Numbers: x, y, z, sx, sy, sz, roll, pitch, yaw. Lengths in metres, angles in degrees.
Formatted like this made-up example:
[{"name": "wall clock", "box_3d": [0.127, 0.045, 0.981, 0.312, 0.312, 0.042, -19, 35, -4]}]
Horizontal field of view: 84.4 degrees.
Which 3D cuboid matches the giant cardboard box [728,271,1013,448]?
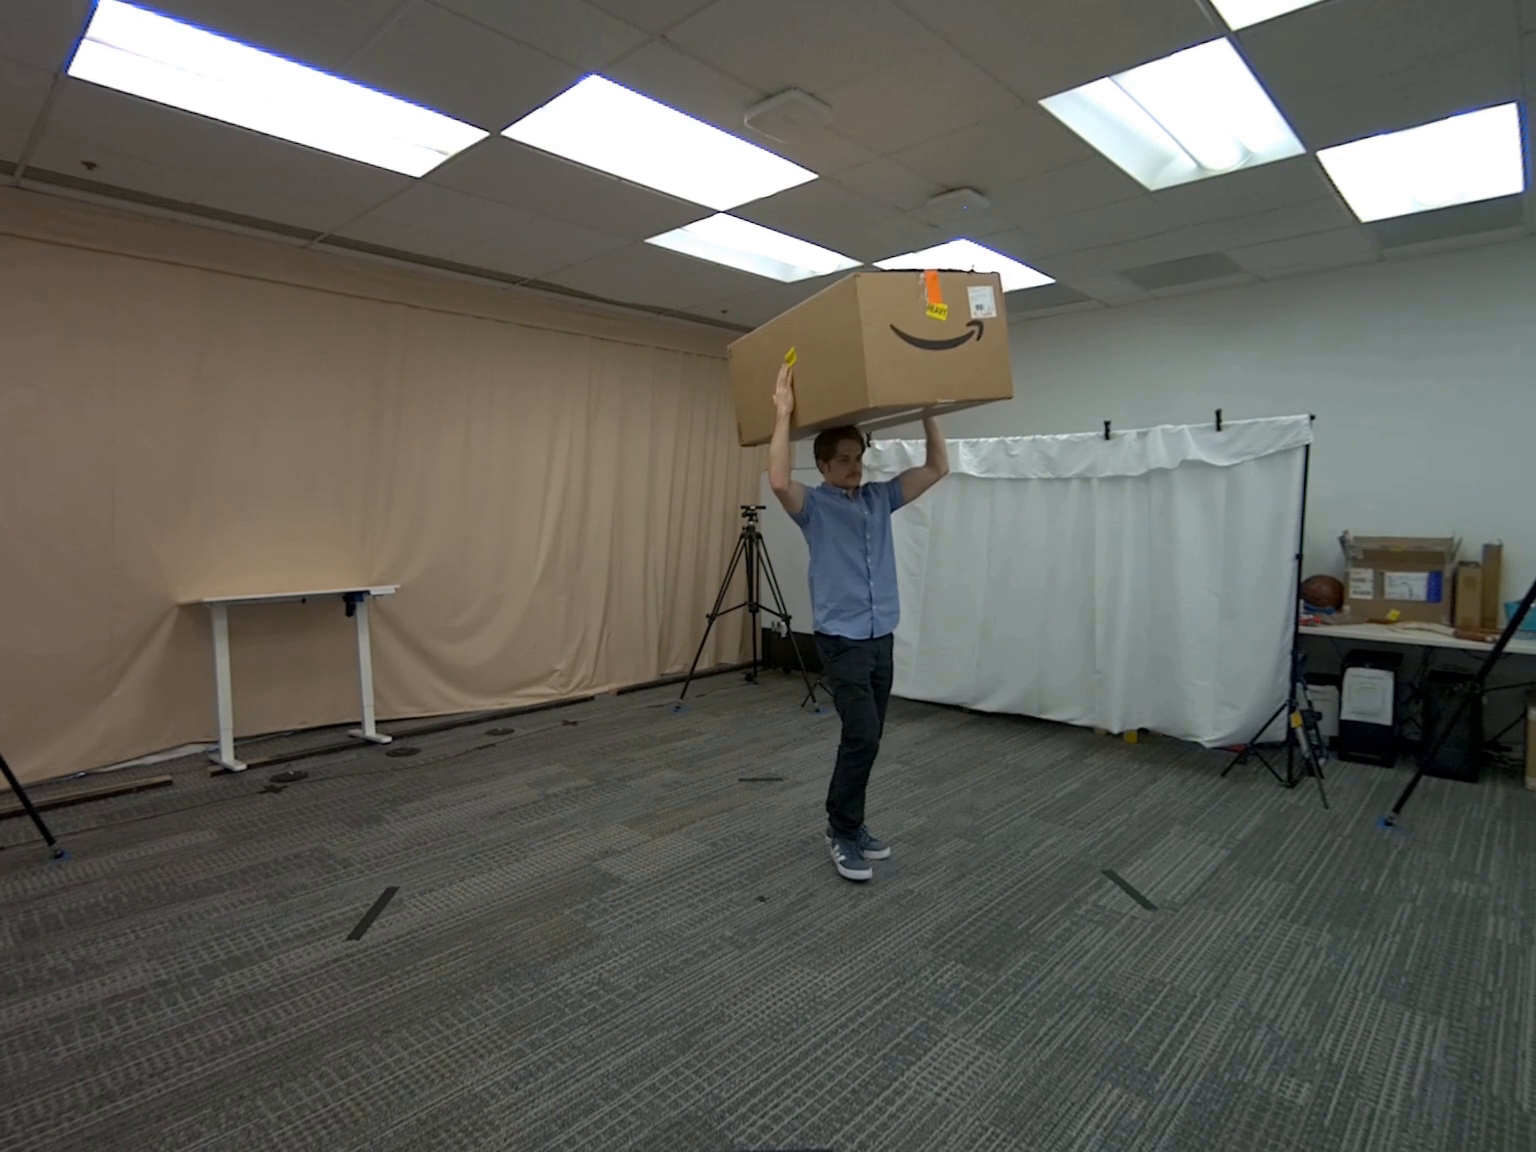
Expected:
[{"name": "giant cardboard box", "box_3d": [0.330, -0.780, 3.166, 0.565, 0.425, 1.050, -9, 5, -24]}]
